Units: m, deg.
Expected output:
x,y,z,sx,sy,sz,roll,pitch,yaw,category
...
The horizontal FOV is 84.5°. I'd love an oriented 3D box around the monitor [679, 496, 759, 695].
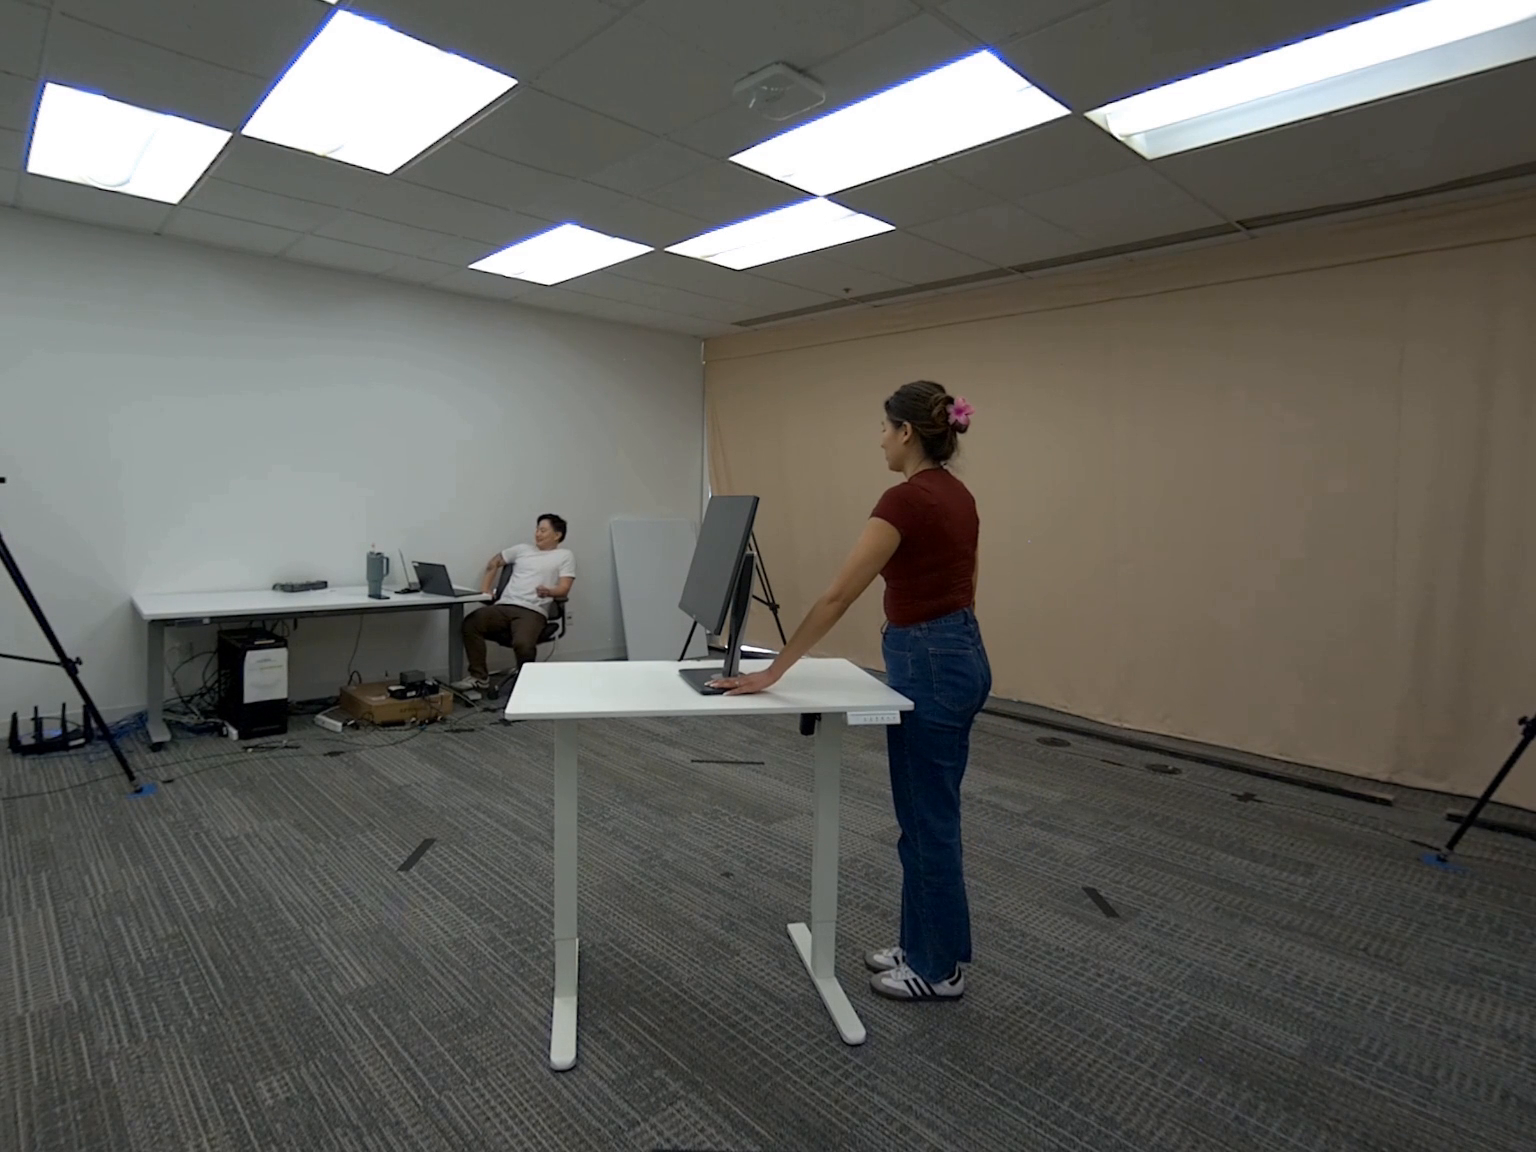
x,y,z,sx,sy,sz,roll,pitch,yaw,category
-0.118,0.041,2.294,0.184,0.522,0.547,3,3,-18,monitor
